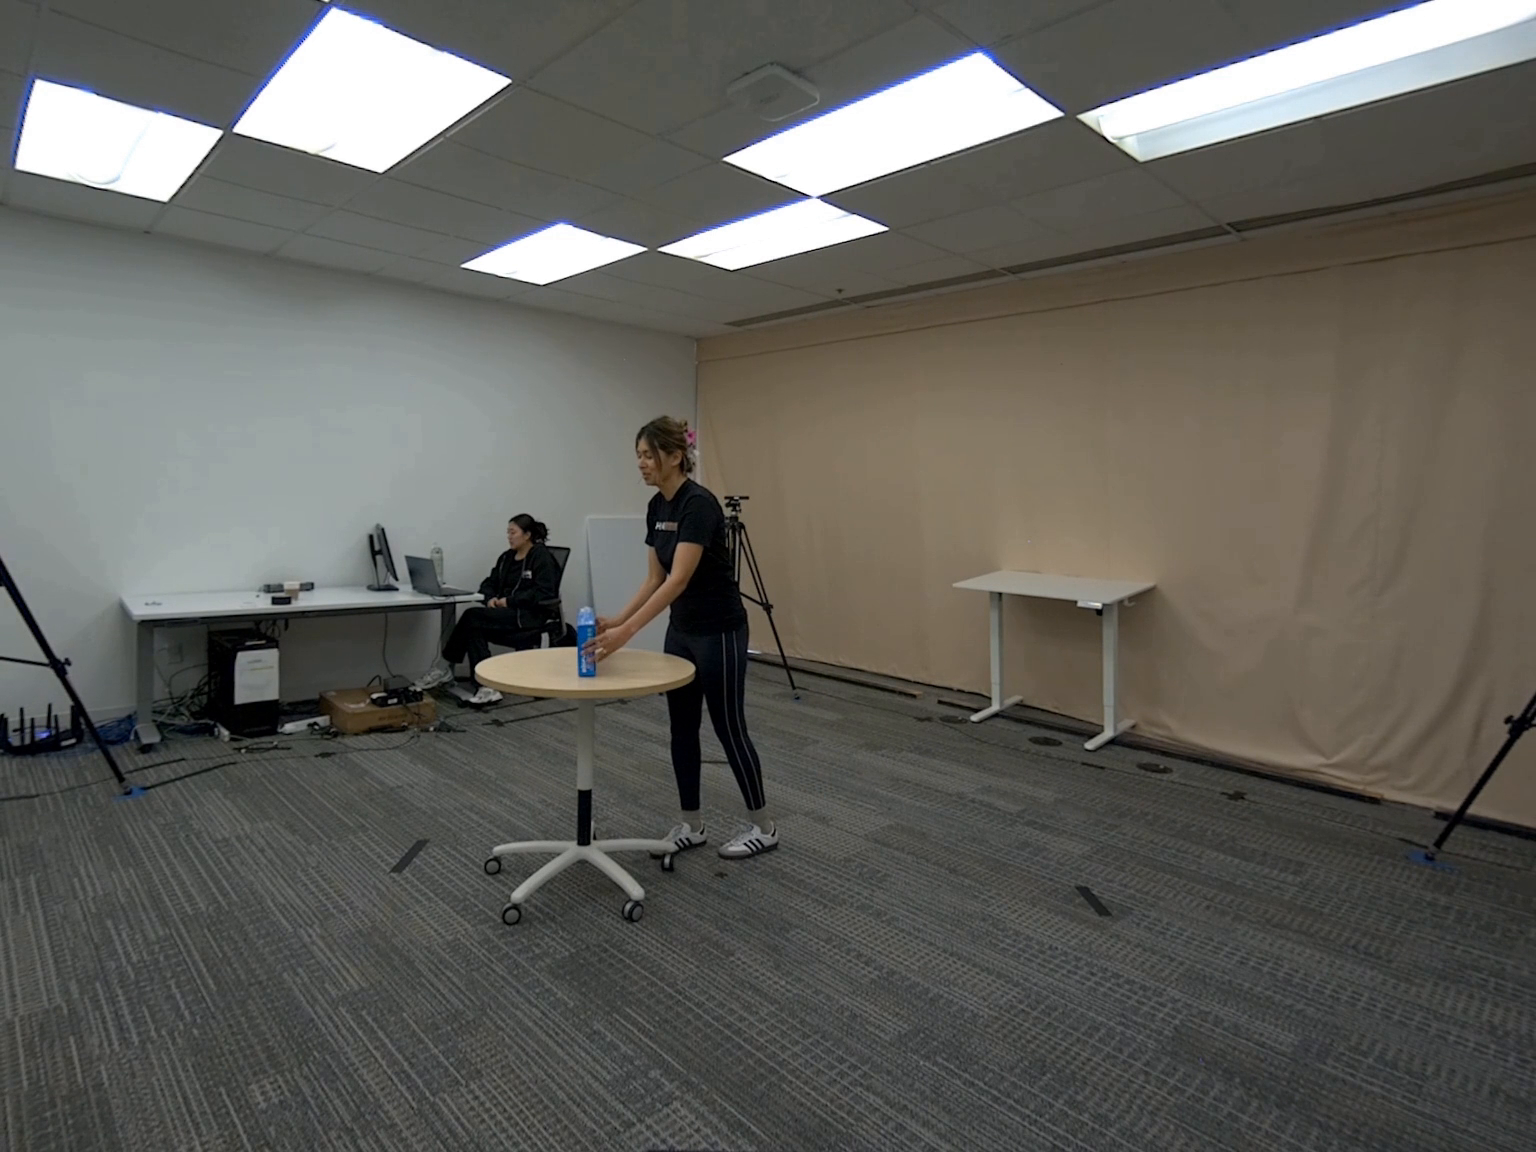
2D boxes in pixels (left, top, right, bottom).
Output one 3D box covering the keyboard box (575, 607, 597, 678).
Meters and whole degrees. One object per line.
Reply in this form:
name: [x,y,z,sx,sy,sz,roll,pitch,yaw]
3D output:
keyboard box: [-0.660,0.229,3.000,0.058,0.175,0.442,0,6,-12]
